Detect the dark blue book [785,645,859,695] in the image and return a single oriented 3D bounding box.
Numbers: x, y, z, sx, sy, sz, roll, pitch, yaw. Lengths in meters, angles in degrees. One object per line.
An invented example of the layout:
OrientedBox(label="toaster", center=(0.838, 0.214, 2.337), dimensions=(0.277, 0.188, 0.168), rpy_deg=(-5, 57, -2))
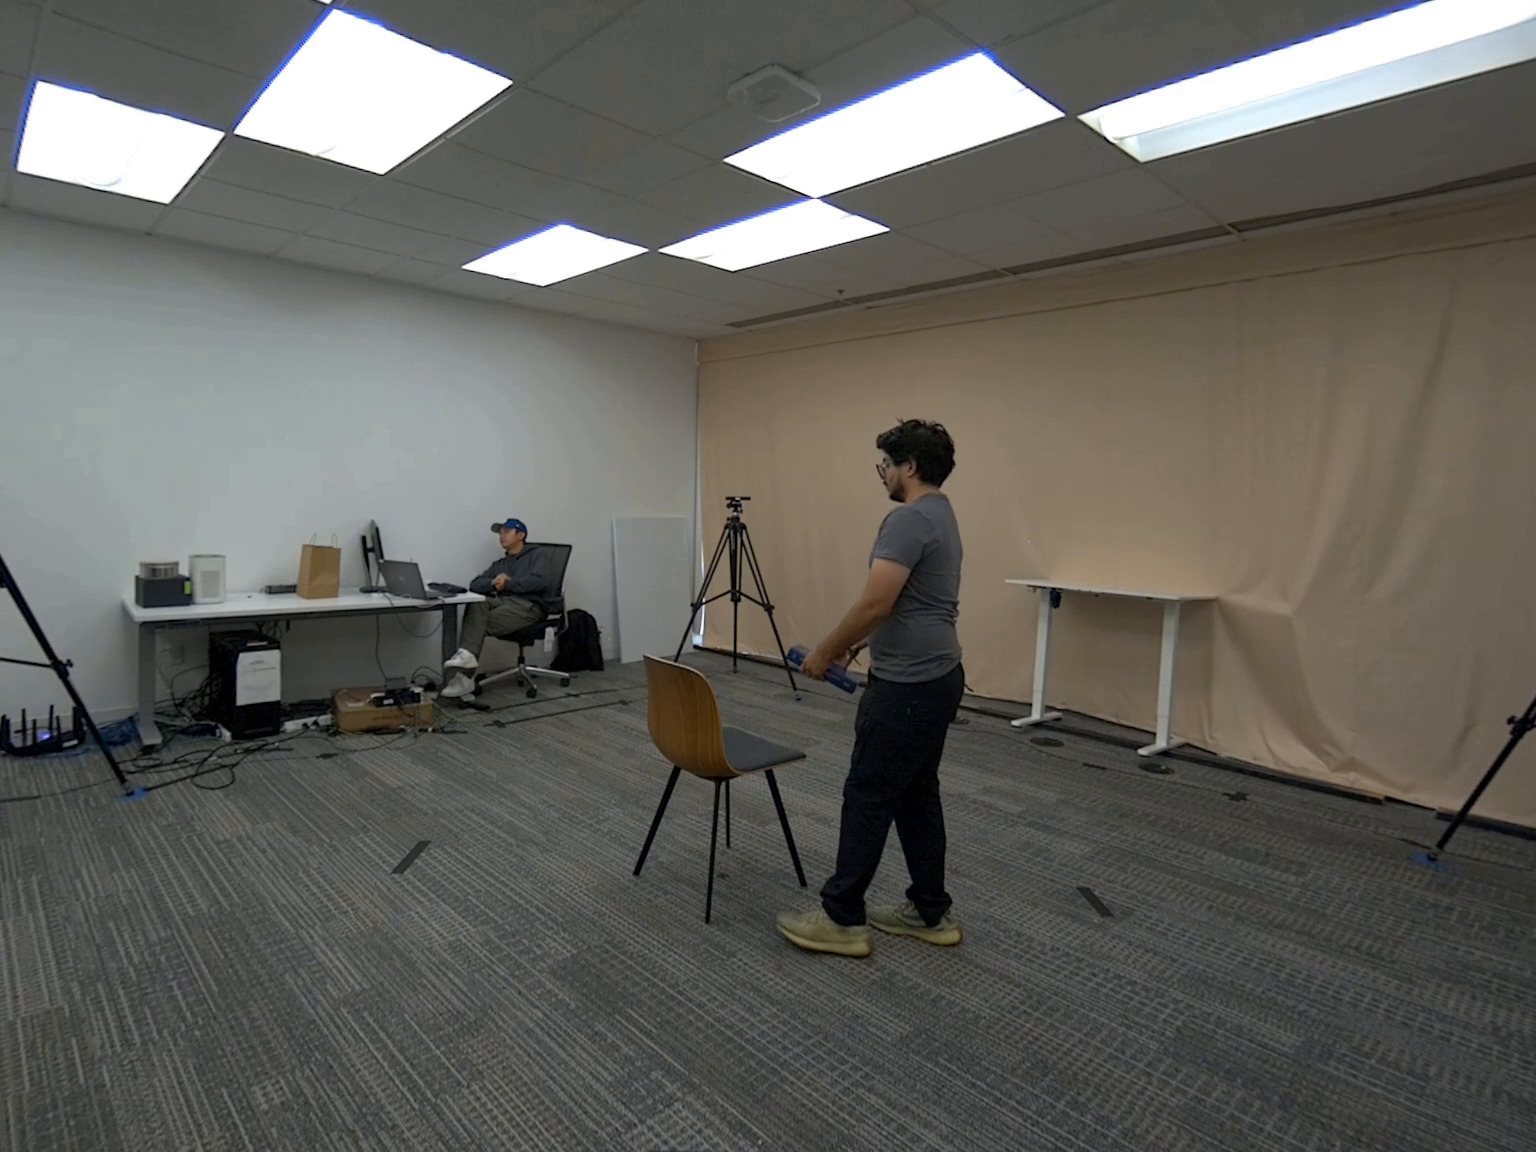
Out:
OrientedBox(label="dark blue book", center=(0.174, 0.299, 2.807), dimensions=(0.246, 0.045, 0.163), rpy_deg=(24, 4, 4))
